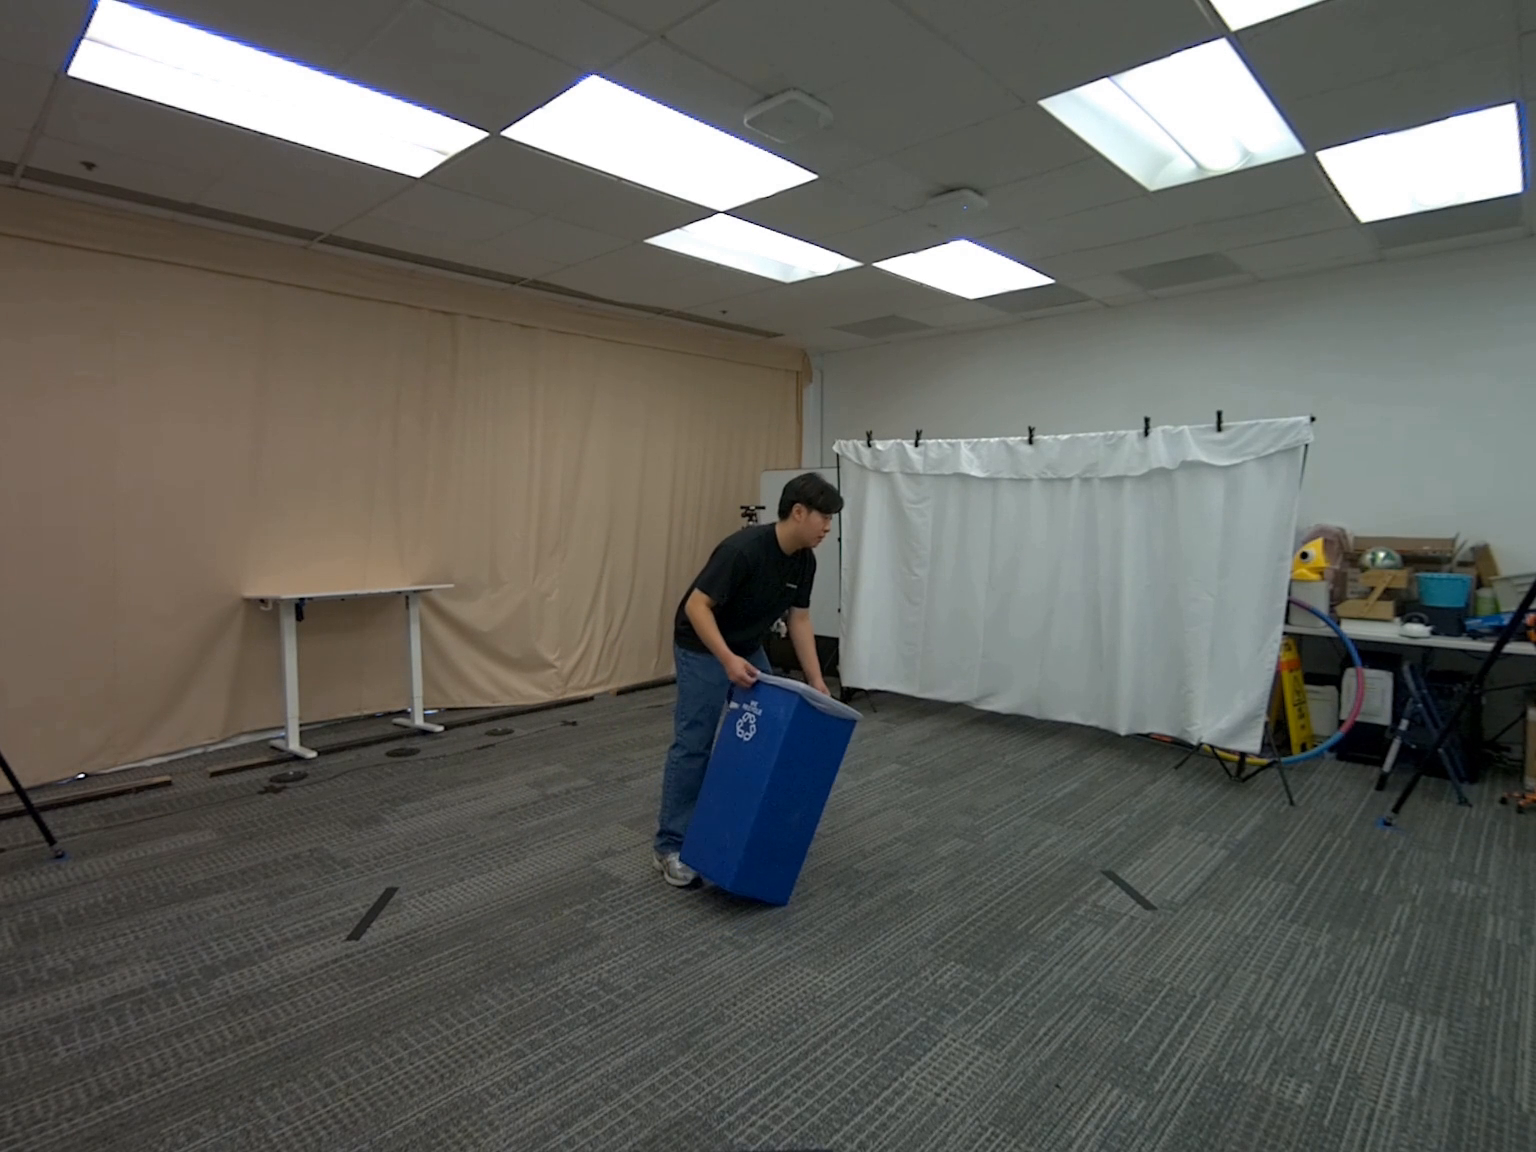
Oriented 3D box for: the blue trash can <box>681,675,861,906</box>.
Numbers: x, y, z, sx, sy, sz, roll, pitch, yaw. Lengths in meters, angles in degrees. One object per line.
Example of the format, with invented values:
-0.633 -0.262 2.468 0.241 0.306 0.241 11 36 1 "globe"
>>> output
0.009 0.753 3.030 0.365 0.715 0.386 28 -15 -37 "blue trash can"
